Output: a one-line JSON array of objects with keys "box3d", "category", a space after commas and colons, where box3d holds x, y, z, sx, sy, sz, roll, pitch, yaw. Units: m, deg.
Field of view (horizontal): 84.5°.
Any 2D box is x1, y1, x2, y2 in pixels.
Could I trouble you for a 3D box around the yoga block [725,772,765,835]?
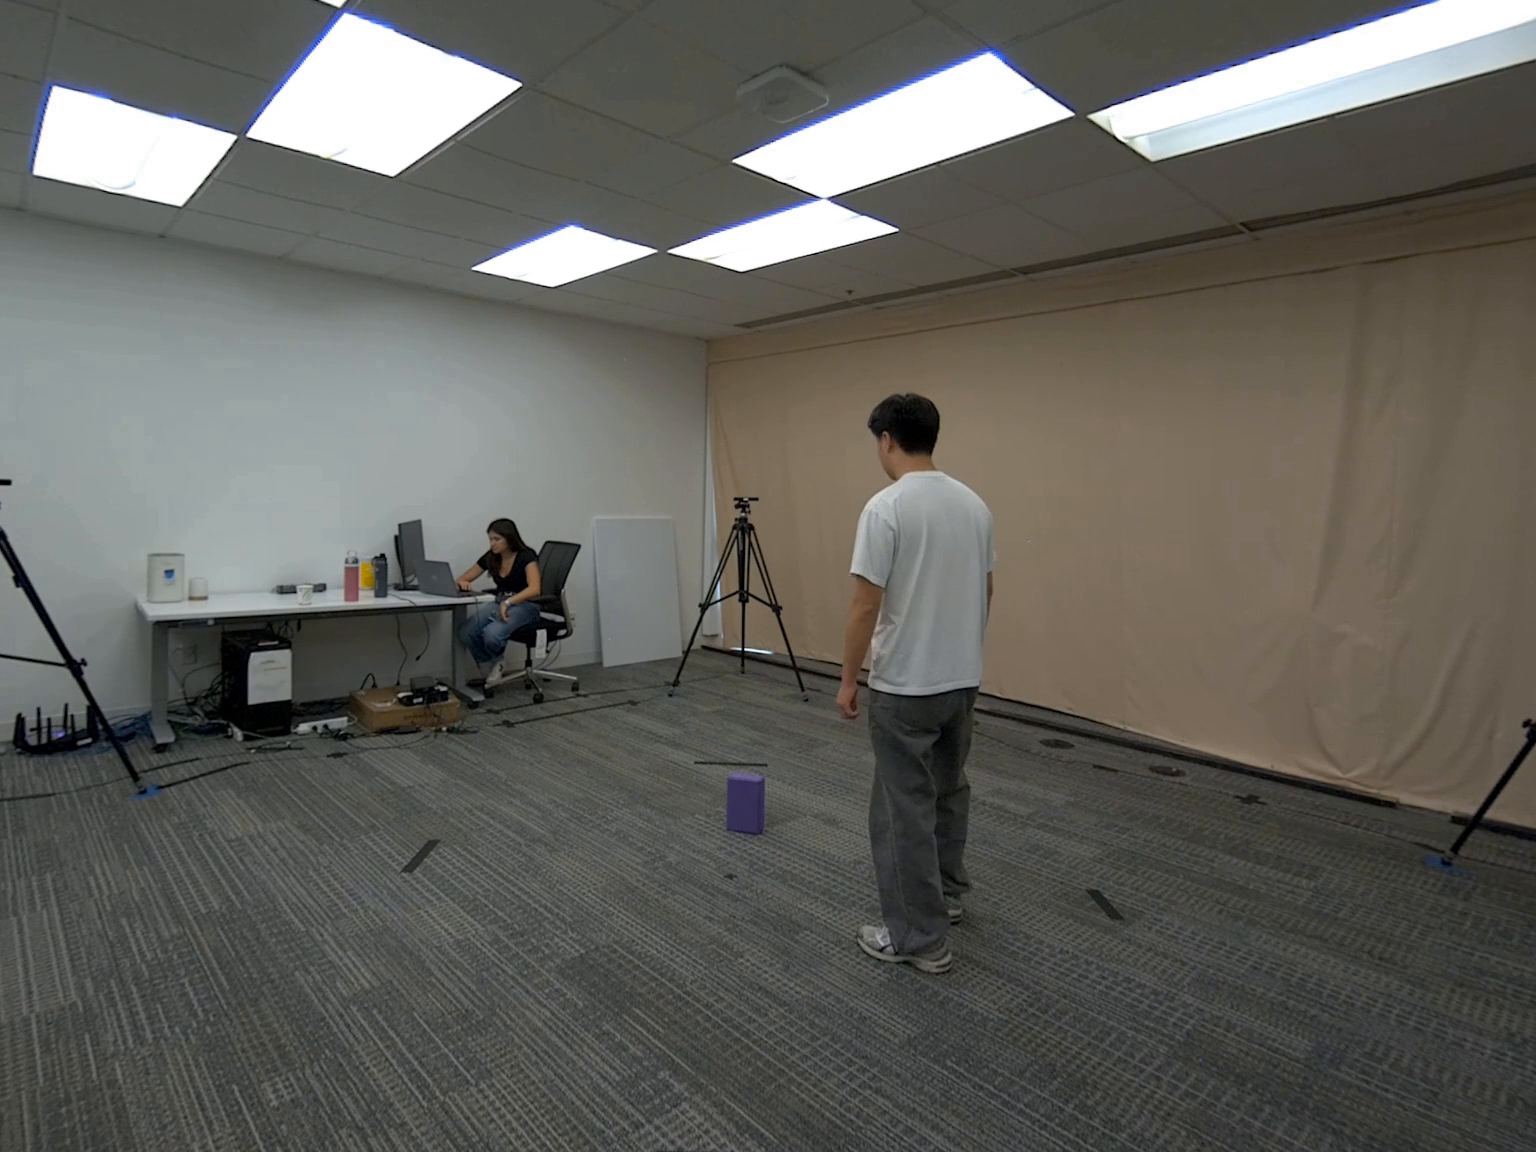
[{"box3d": [-0.105, 0.958, 3.540, 0.151, 0.229, 0.075, 2, 2, 18], "category": "yoga block"}]
